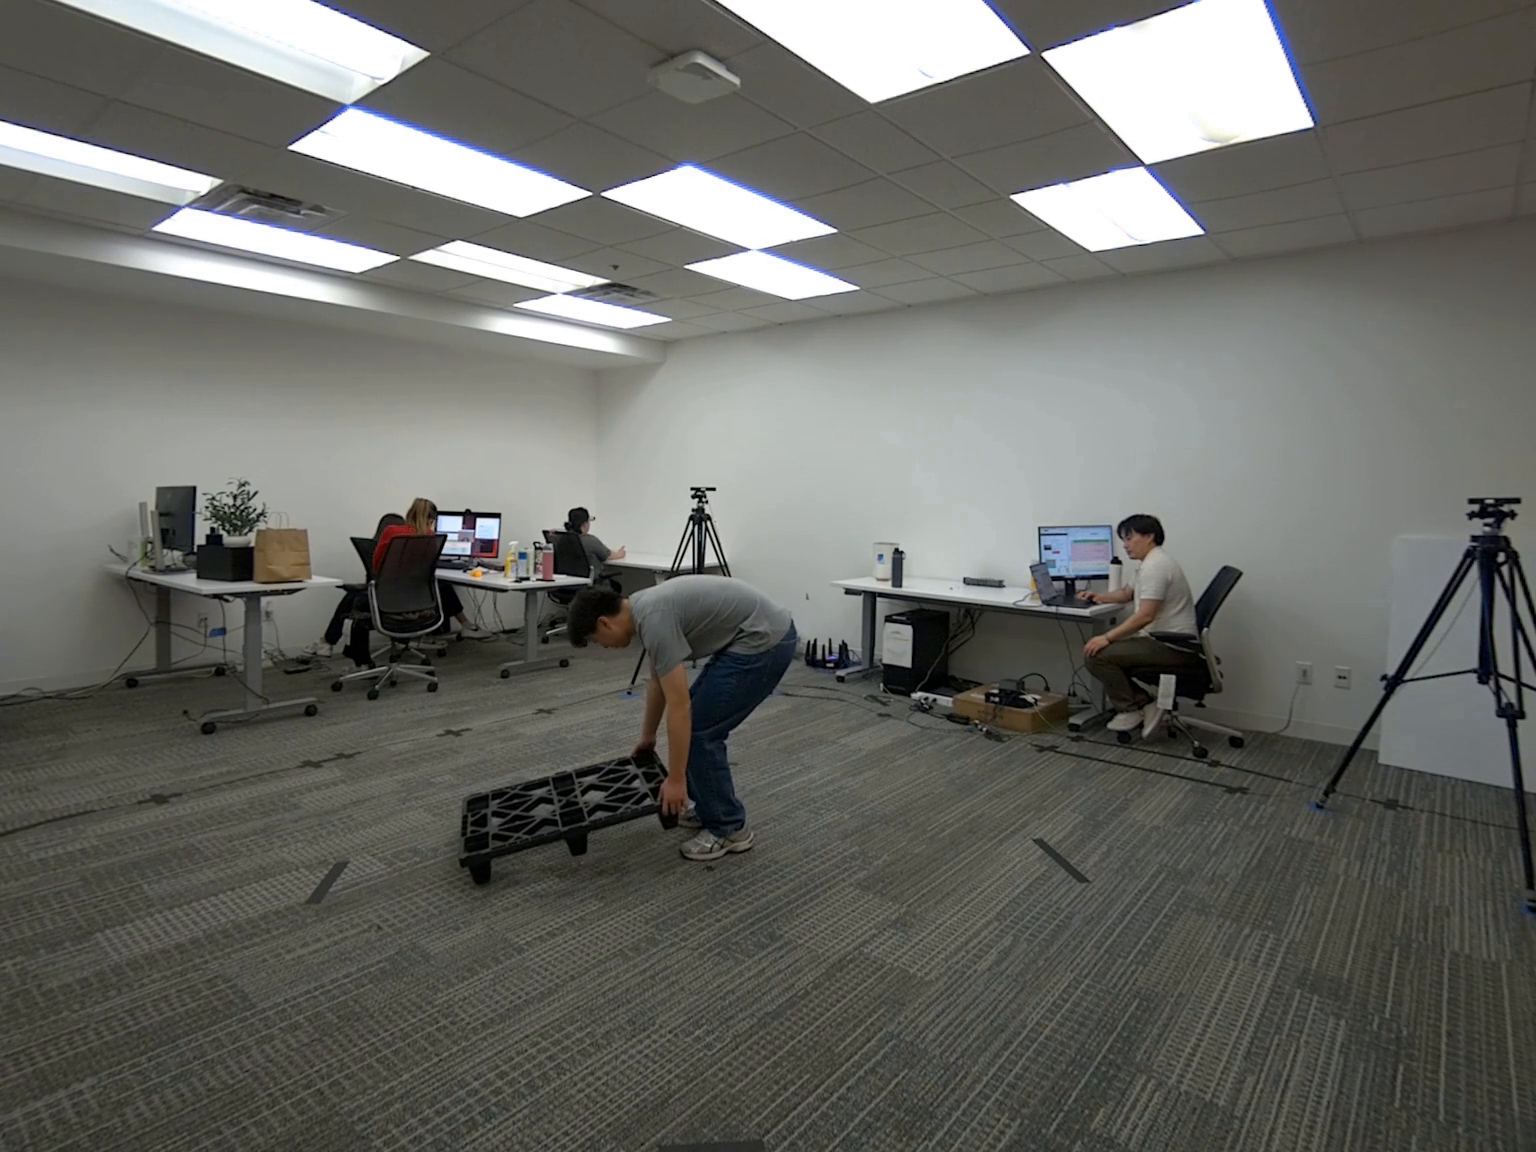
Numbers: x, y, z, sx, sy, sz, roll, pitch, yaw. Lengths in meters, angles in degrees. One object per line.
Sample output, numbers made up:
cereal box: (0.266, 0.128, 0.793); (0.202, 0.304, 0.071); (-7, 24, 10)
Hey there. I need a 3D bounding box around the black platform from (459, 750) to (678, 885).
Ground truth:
black platform: (-0.780, 0.908, 3.260); (0.795, 0.142, 0.617); (-12, 9, -15)
